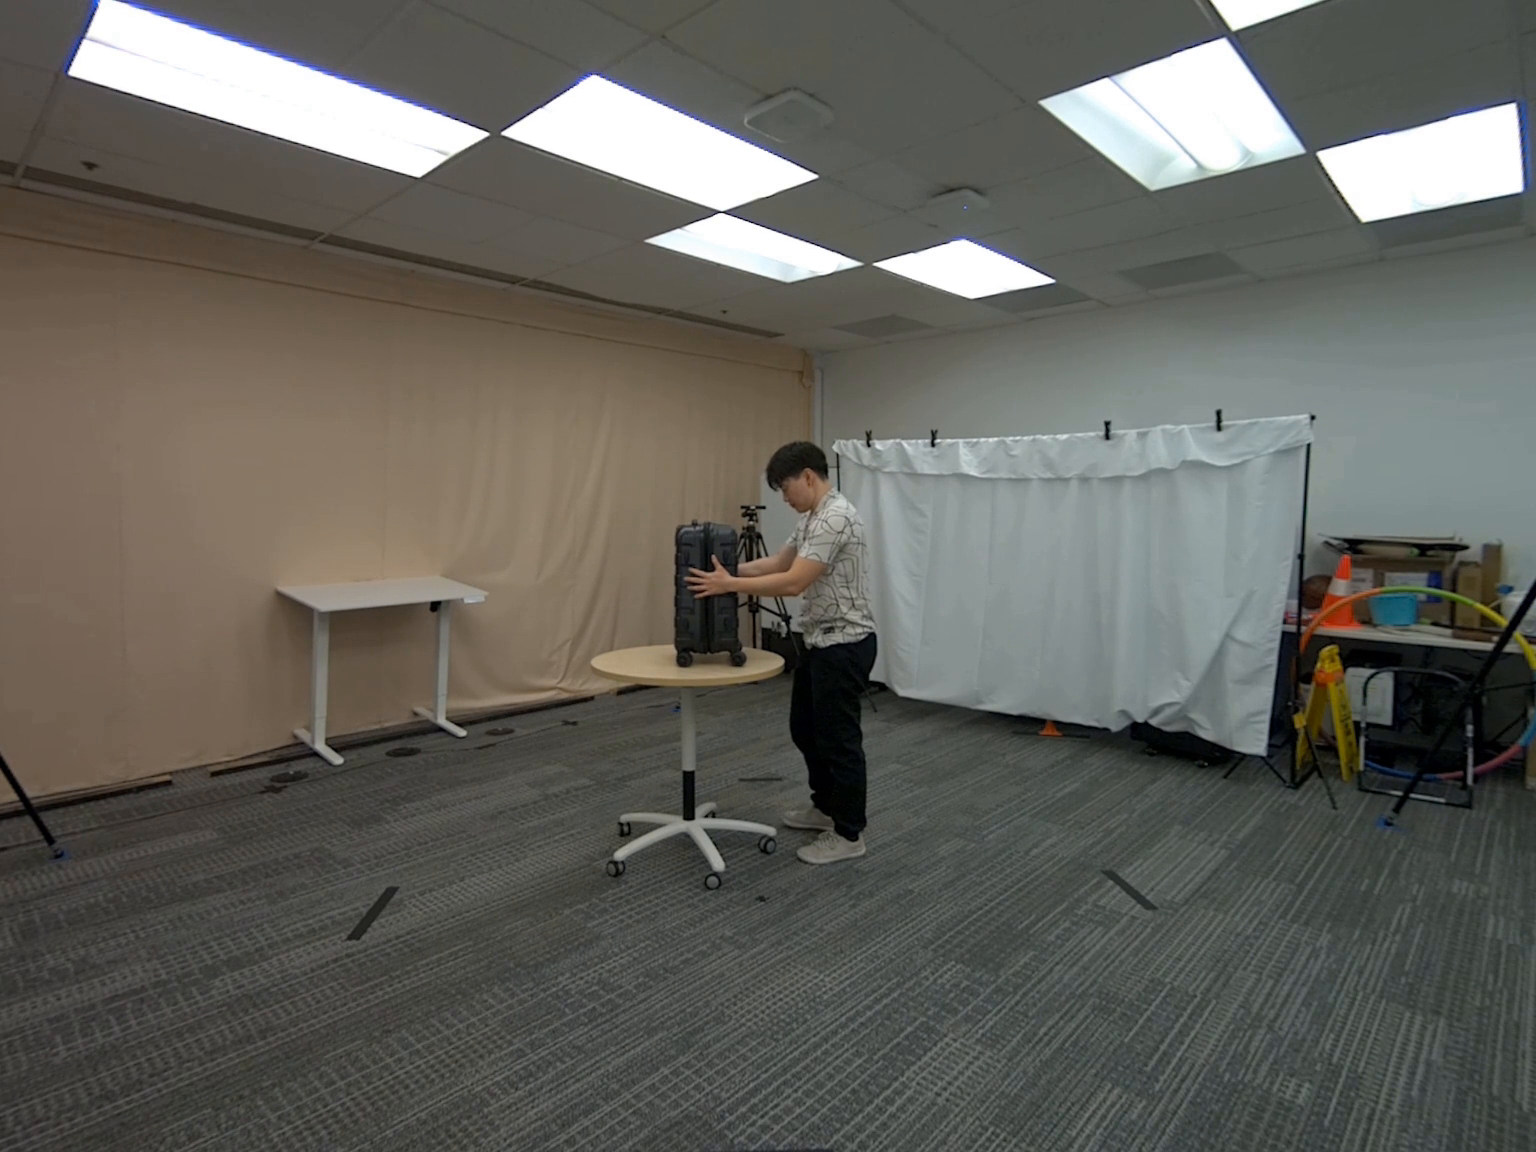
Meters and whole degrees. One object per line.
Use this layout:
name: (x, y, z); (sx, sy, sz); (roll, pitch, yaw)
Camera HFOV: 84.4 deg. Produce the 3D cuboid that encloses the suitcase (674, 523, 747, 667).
suitcase: (-0.230, 0.055, 3.355); (0.248, 0.548, 0.377); (-3, 2, -3)
